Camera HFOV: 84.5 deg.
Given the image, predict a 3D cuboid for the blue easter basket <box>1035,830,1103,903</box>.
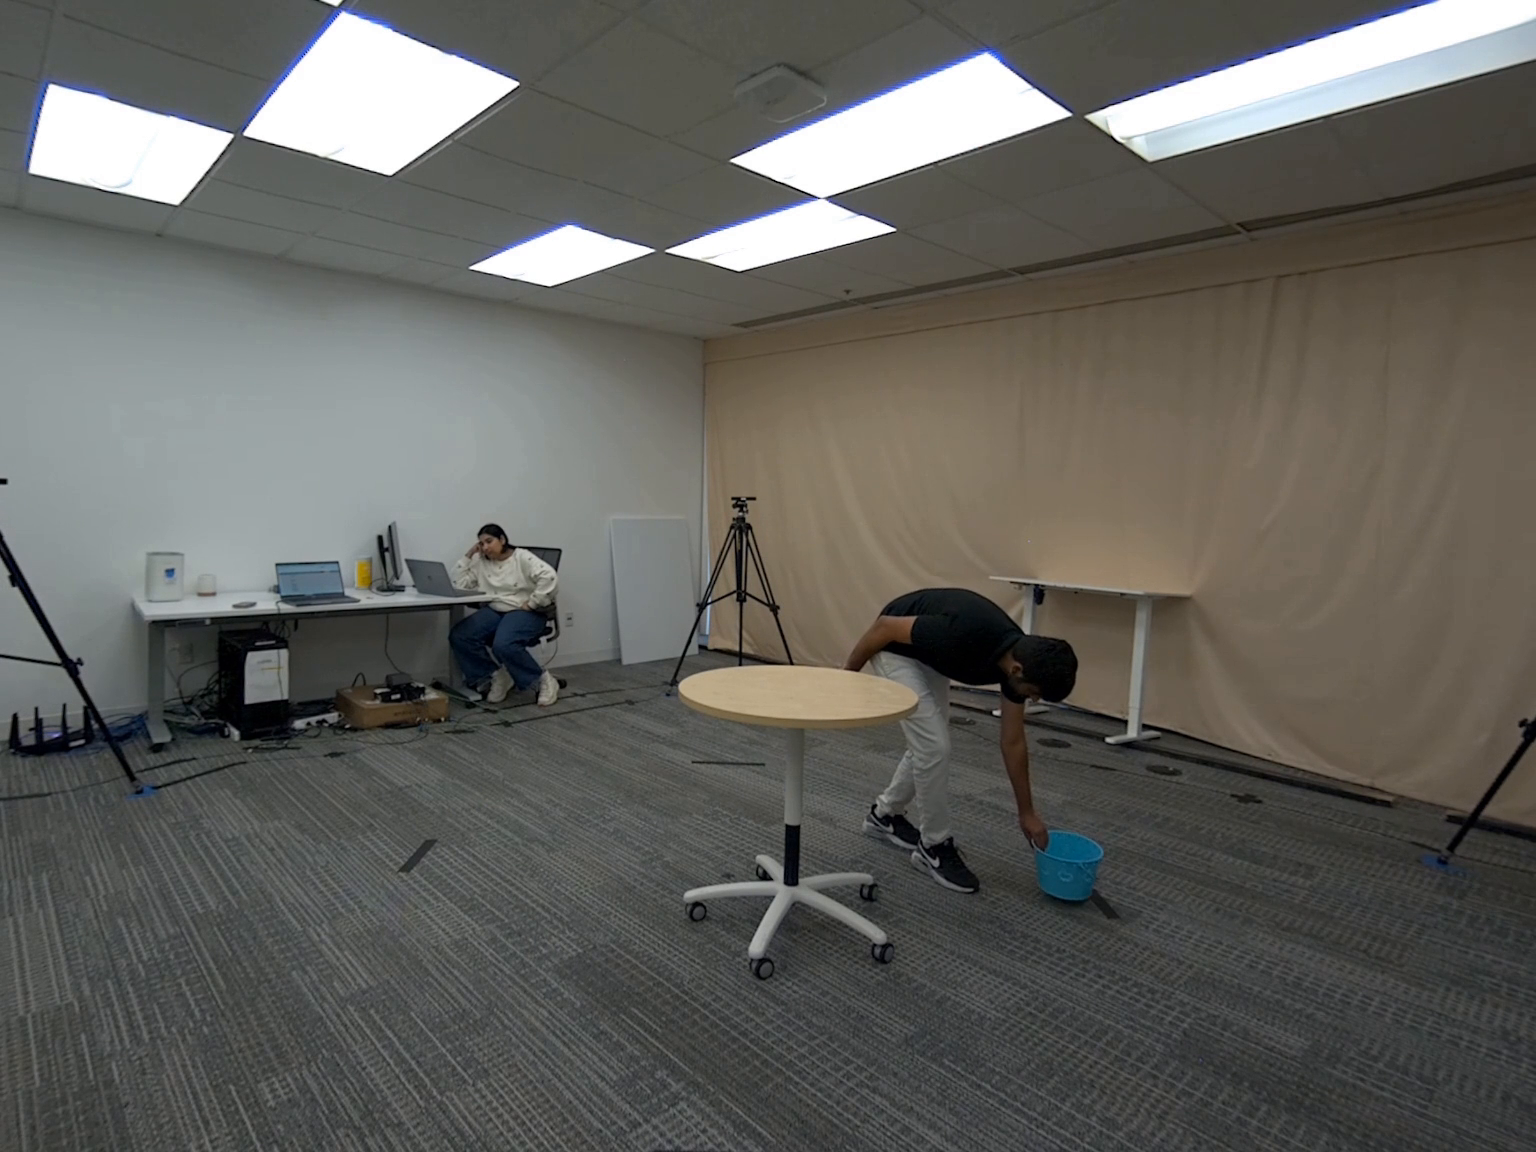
[{"bbox_3d":[1.060,1.030,2.978,0.243,0.155,0.245,1,9,-2],"label":"blue easter basket"}]
